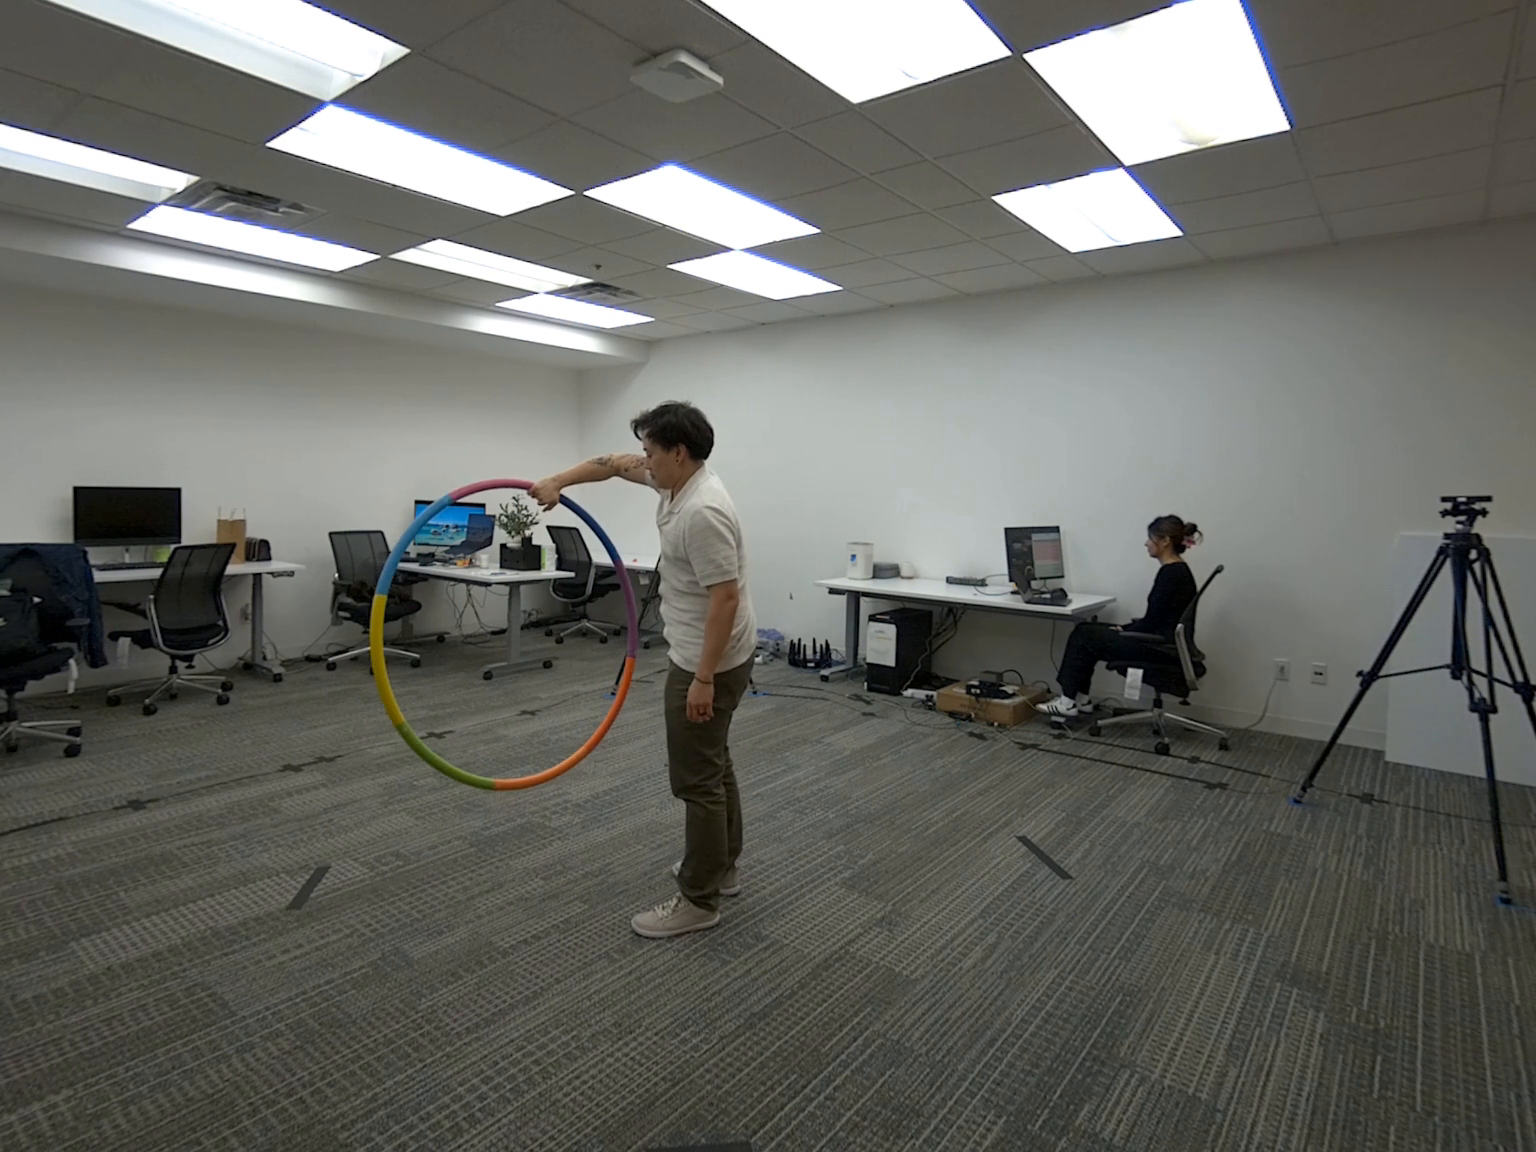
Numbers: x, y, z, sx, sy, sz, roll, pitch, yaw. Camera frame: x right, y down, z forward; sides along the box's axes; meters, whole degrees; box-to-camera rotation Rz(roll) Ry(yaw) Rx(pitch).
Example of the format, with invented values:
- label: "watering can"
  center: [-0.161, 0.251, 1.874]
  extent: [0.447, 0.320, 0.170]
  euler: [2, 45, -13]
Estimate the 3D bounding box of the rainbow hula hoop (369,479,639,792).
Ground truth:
- label: "rainbow hula hoop"
  center: [-0.817, 0.174, 2.756]
  extent: [0.036, 0.983, 0.949]
  euler: [-10, -4, 43]
